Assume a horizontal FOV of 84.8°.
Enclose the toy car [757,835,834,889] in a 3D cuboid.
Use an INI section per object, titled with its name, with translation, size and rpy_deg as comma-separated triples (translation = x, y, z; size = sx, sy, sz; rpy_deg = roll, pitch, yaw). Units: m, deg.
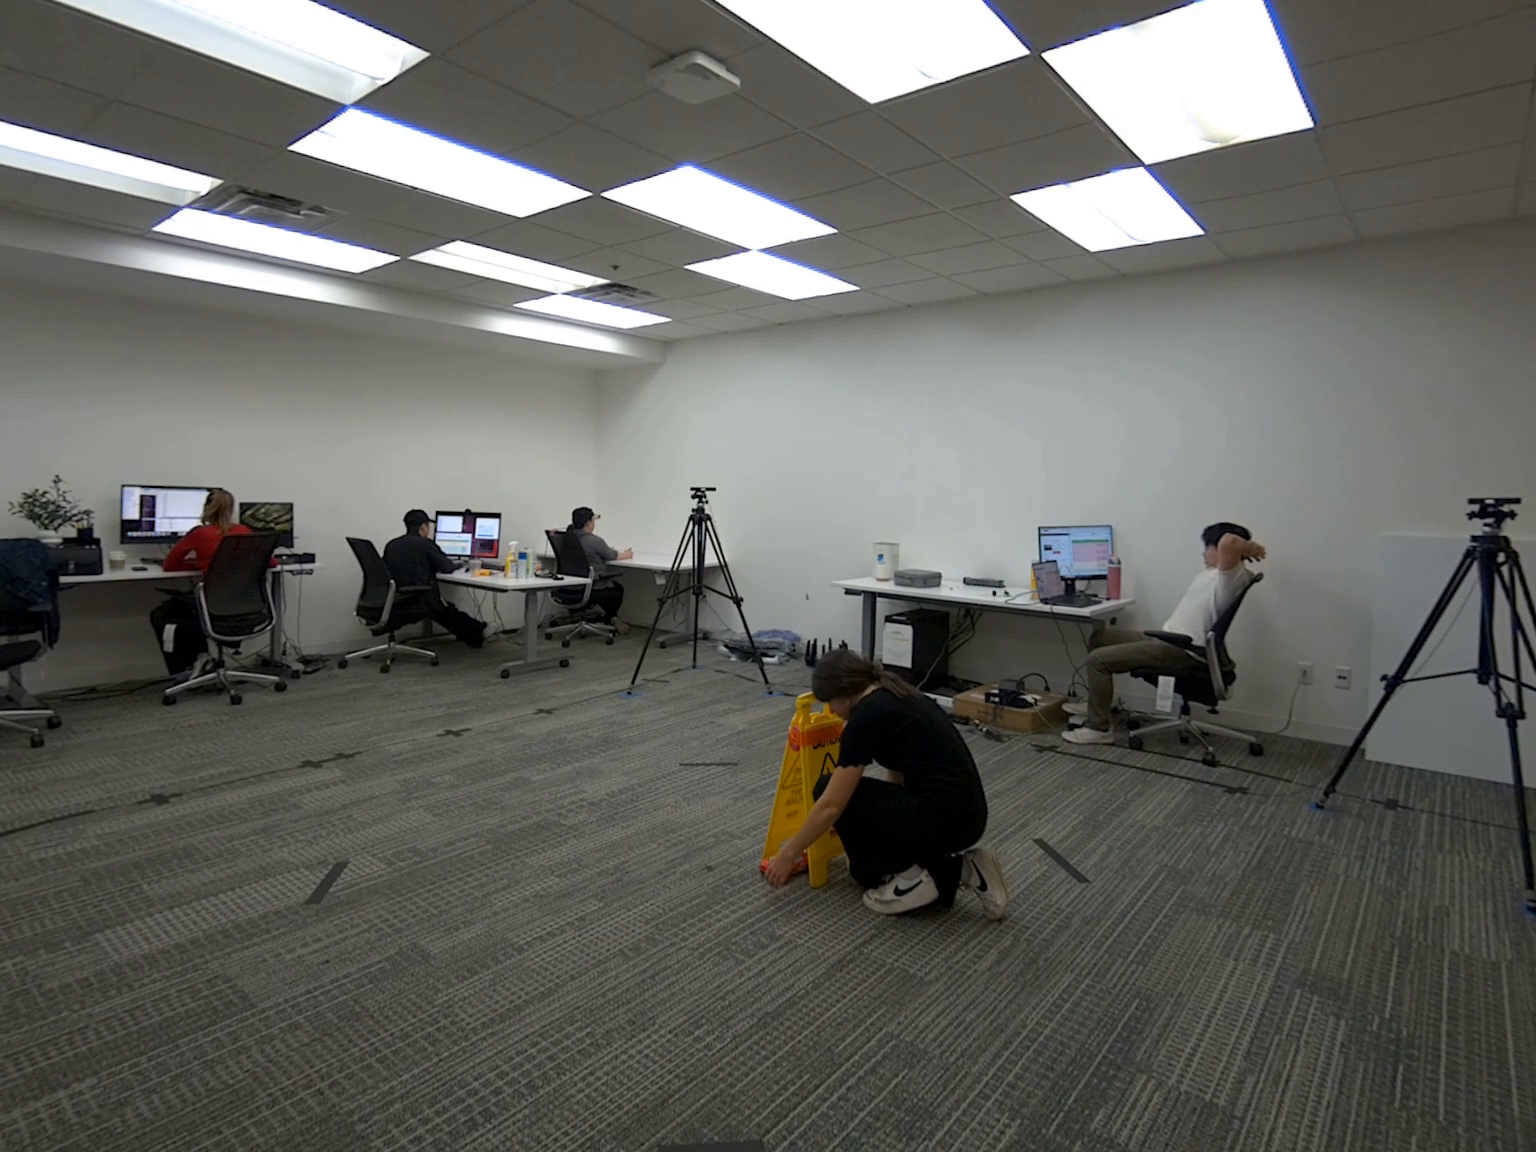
[toy car]
translation = 0.101, 1.040, 3.111
size = 0.248, 0.082, 0.135
rpy_deg = -14, 12, -38
